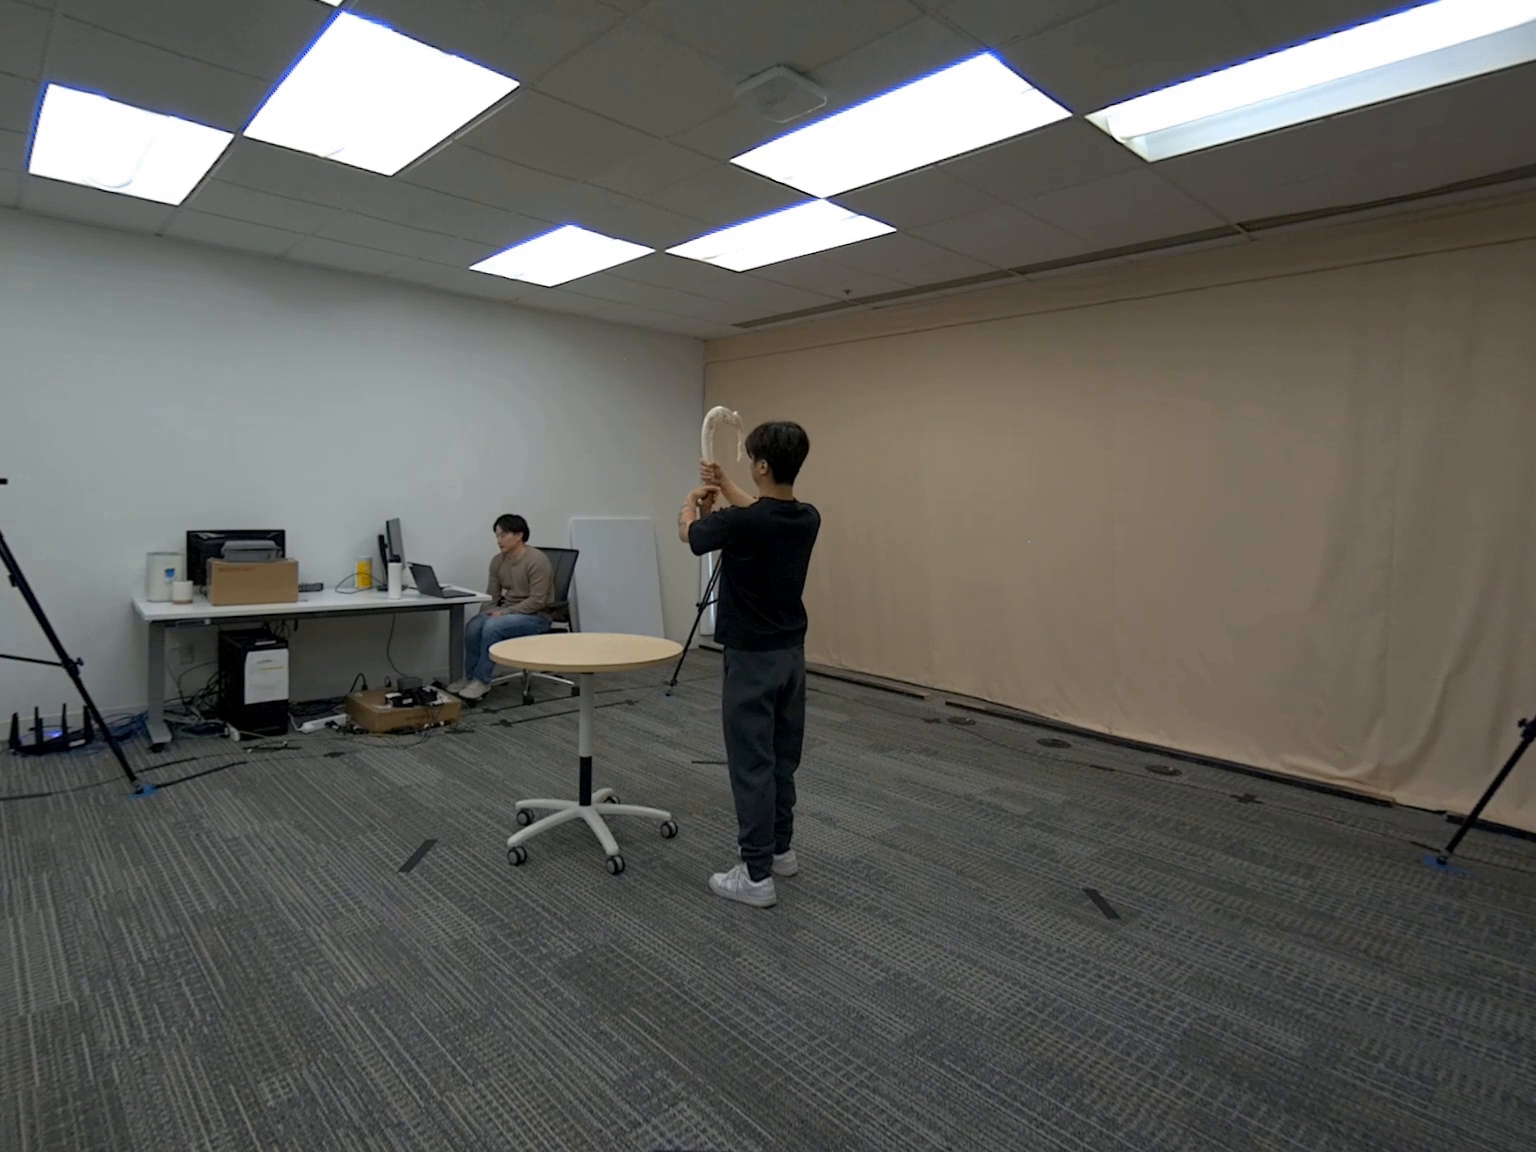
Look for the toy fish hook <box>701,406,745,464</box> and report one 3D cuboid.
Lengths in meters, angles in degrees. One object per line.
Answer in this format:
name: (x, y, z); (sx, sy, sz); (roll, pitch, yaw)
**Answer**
toy fish hook: (-0.190, -0.418, 3.326); (0.219, 0.509, 0.049); (10, -8, -34)
